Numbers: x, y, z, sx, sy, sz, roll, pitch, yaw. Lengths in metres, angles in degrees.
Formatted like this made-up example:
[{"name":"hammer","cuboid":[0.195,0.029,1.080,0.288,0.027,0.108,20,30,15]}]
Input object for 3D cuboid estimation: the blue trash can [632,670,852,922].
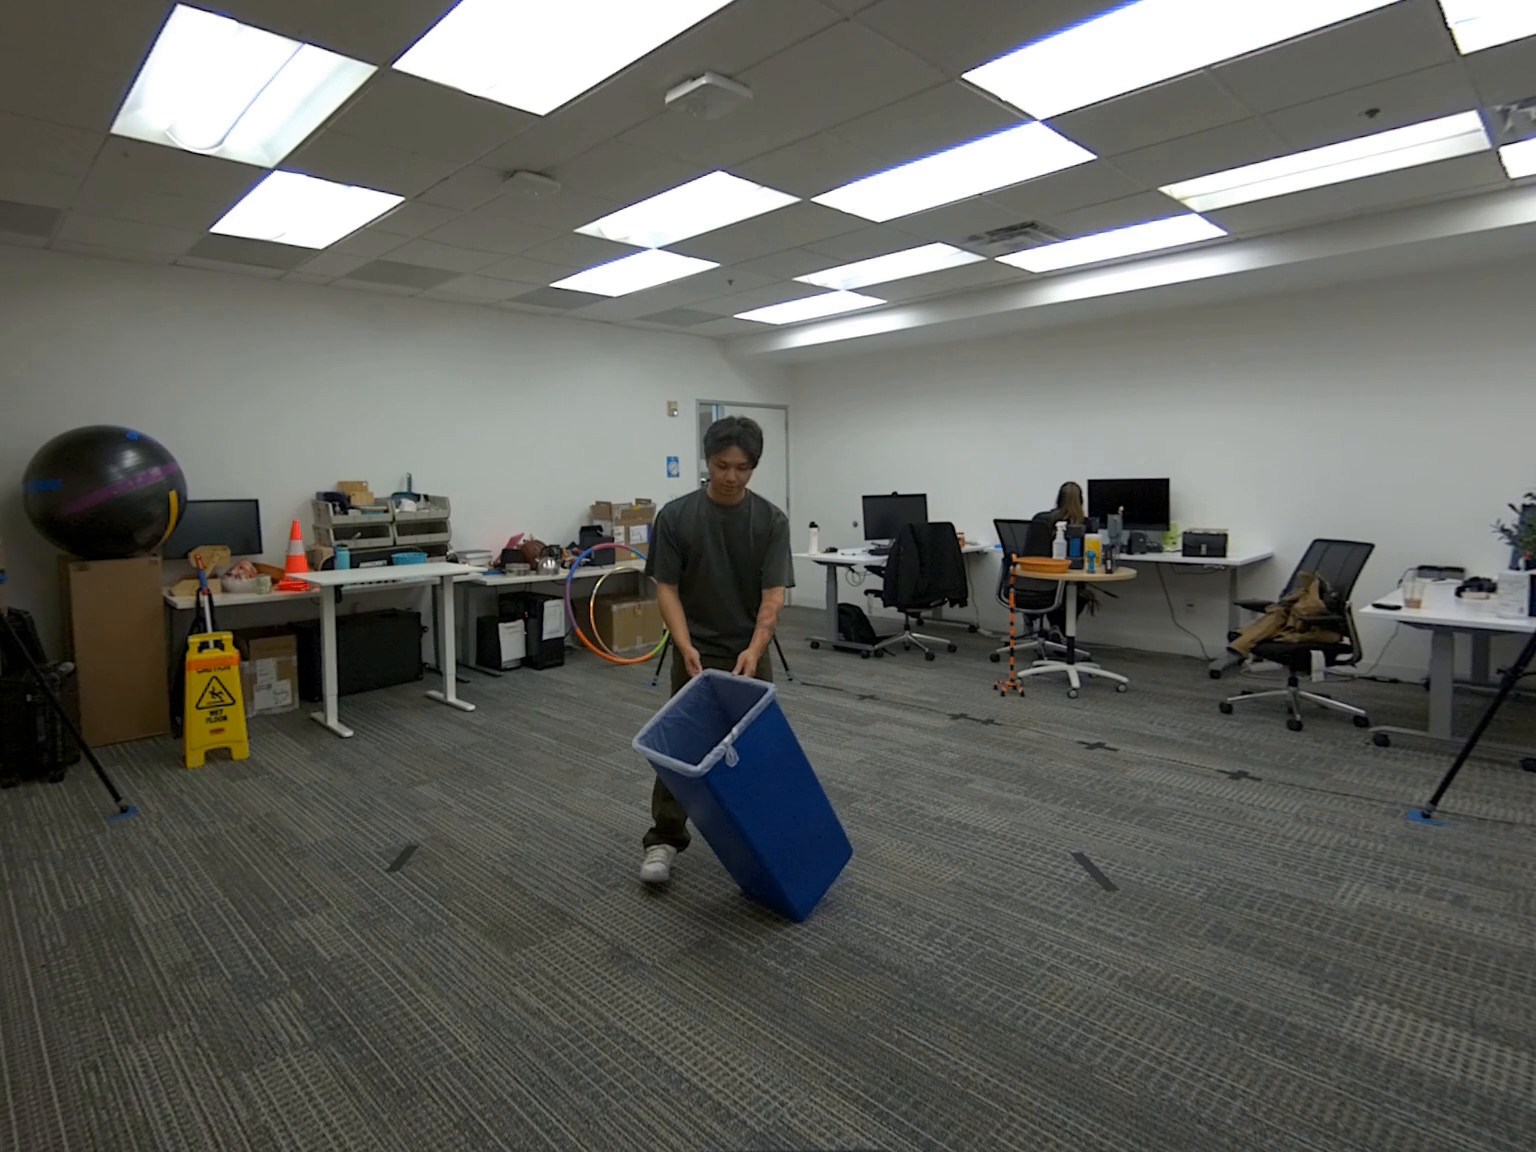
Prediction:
[{"name":"blue trash can","cuboid":[-0.056,0.706,2.735,0.389,0.695,0.373,2,38,50]}]
